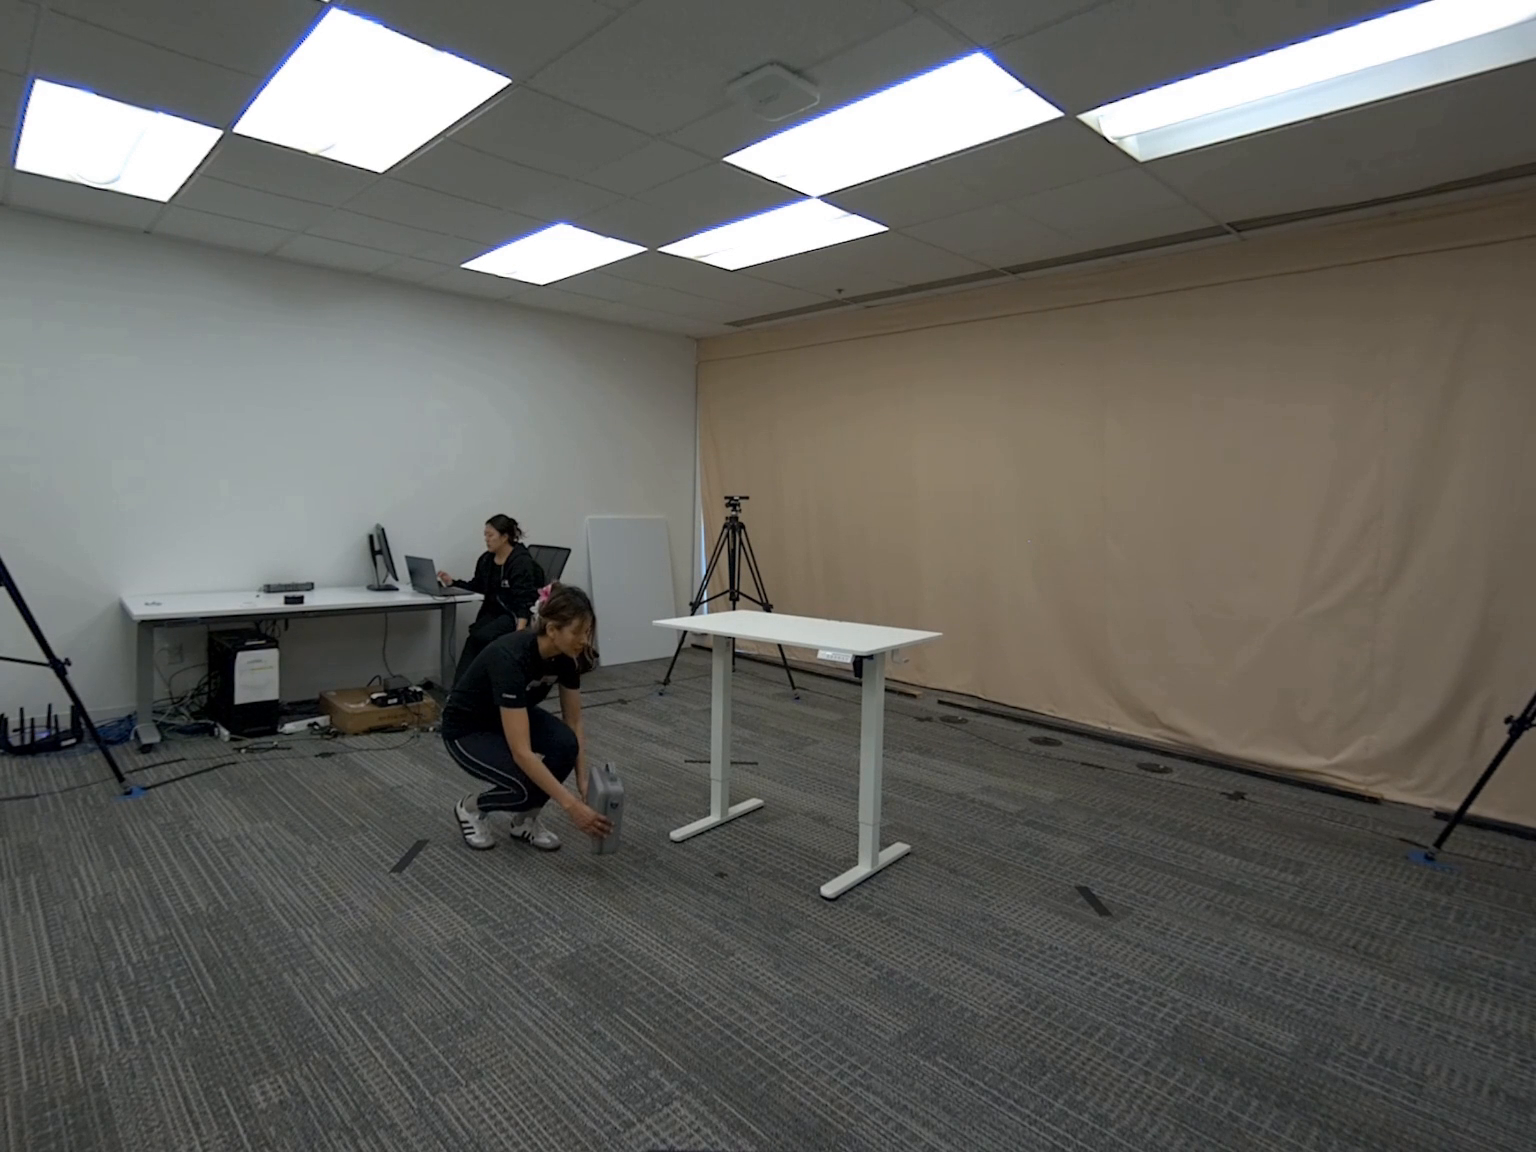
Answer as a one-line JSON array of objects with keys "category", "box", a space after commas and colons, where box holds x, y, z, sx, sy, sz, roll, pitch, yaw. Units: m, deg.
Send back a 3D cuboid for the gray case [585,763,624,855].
[{"category": "gray case", "box": [-0.622, 0.853, 3.105, 0.102, 0.260, 0.262, 9, 6, -21]}]
